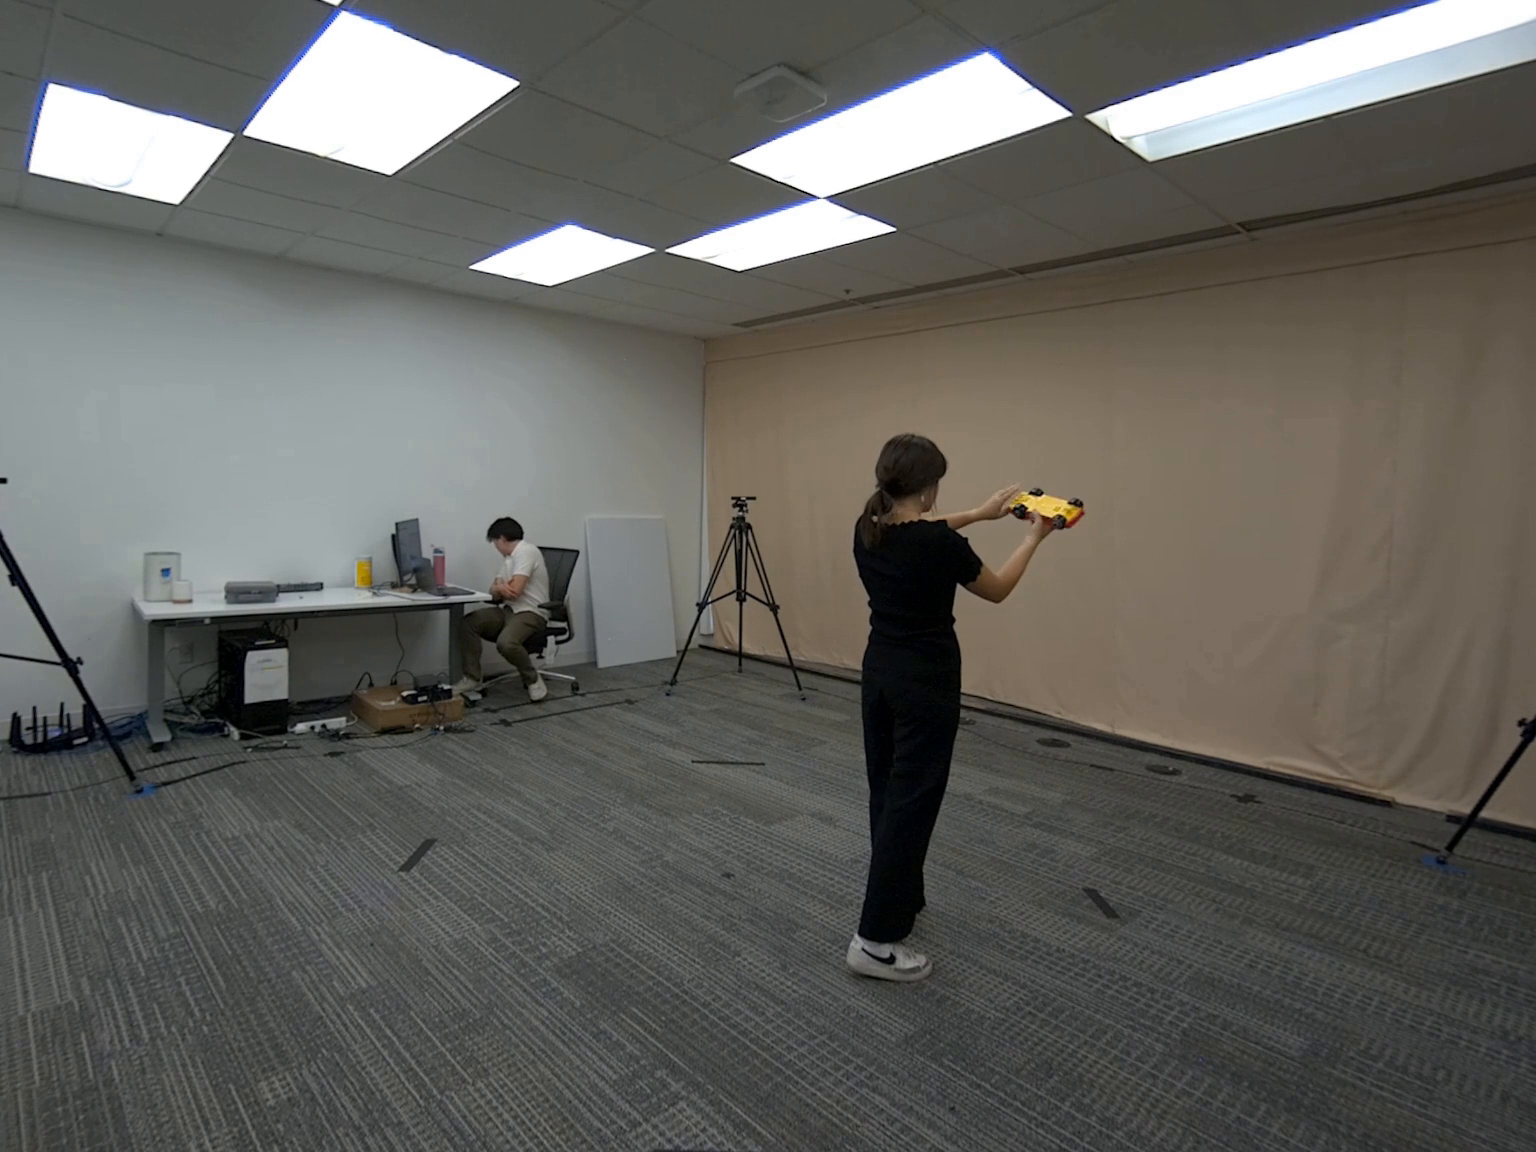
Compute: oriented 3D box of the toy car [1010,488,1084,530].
[{"bbox_3d":[0.878,-0.220,2.712,0.130,0.081,0.261,-41,27,-18],"label":"toy car"}]
